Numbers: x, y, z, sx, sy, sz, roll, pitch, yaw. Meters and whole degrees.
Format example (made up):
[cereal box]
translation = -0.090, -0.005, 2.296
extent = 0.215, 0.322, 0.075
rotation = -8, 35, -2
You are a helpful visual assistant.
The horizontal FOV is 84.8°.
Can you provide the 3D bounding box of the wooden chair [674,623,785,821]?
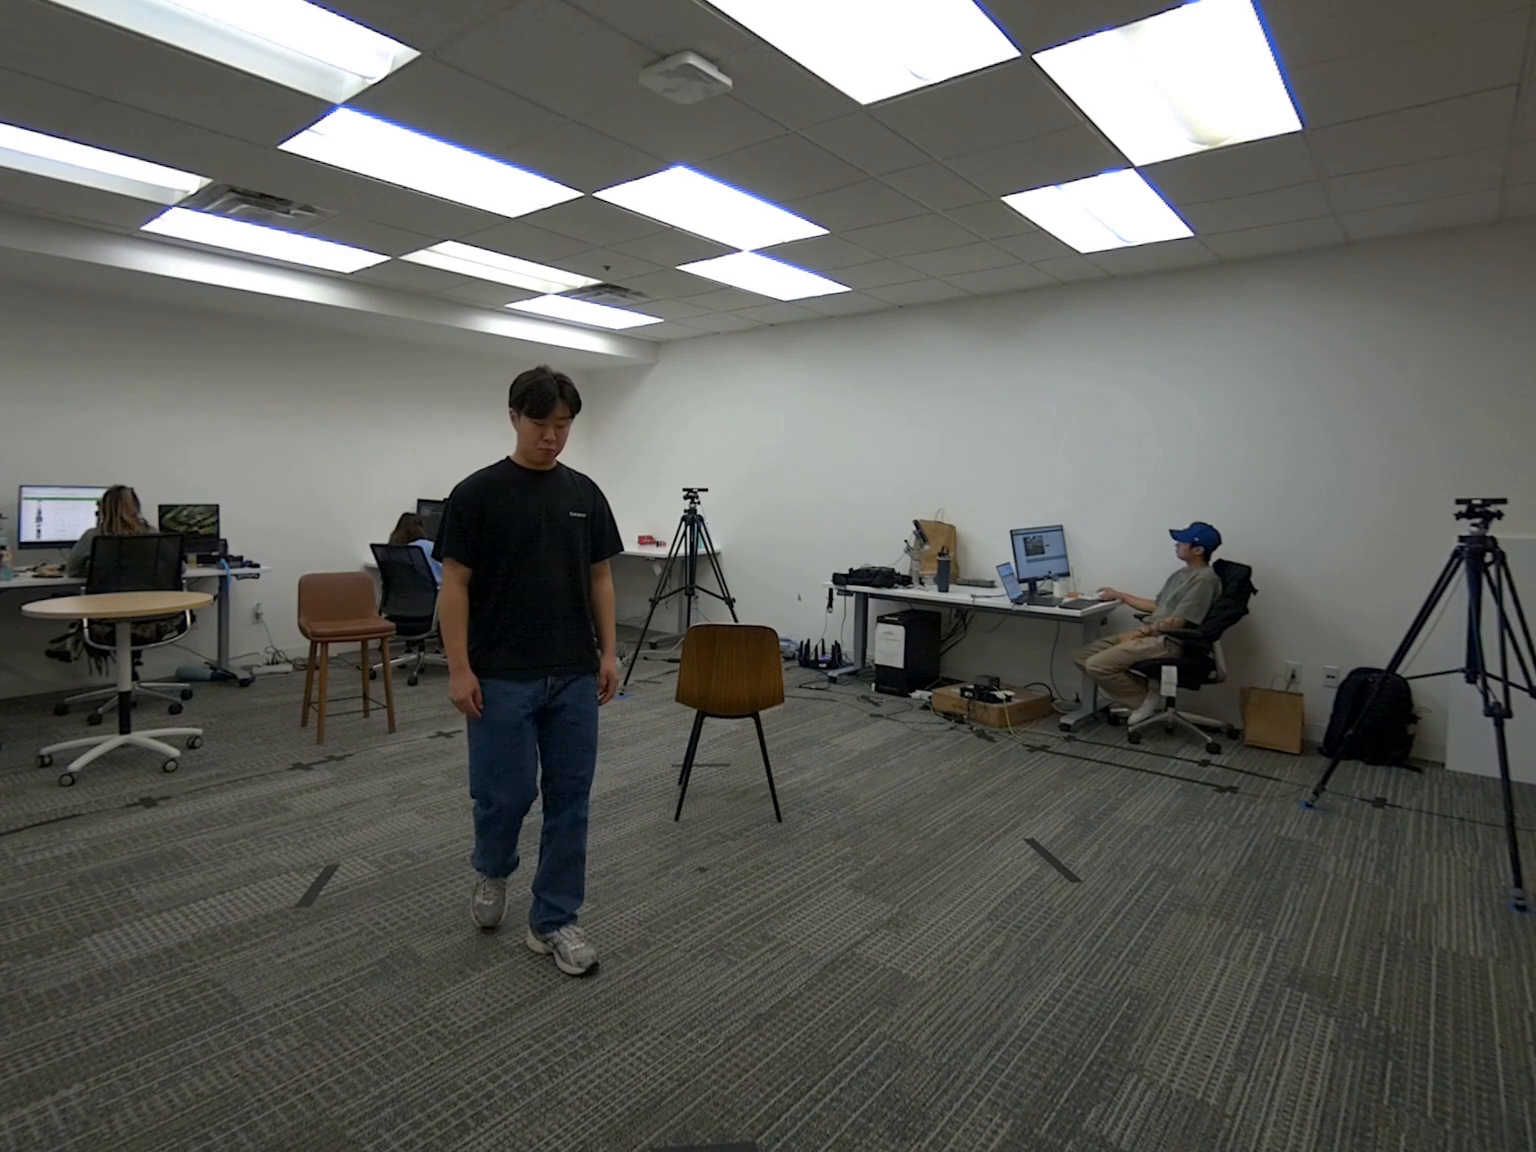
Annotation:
[wooden chair]
translation = -0.192, 0.577, 3.766
extent = 0.477, 0.871, 0.528
rotation = 0, 7, -3
